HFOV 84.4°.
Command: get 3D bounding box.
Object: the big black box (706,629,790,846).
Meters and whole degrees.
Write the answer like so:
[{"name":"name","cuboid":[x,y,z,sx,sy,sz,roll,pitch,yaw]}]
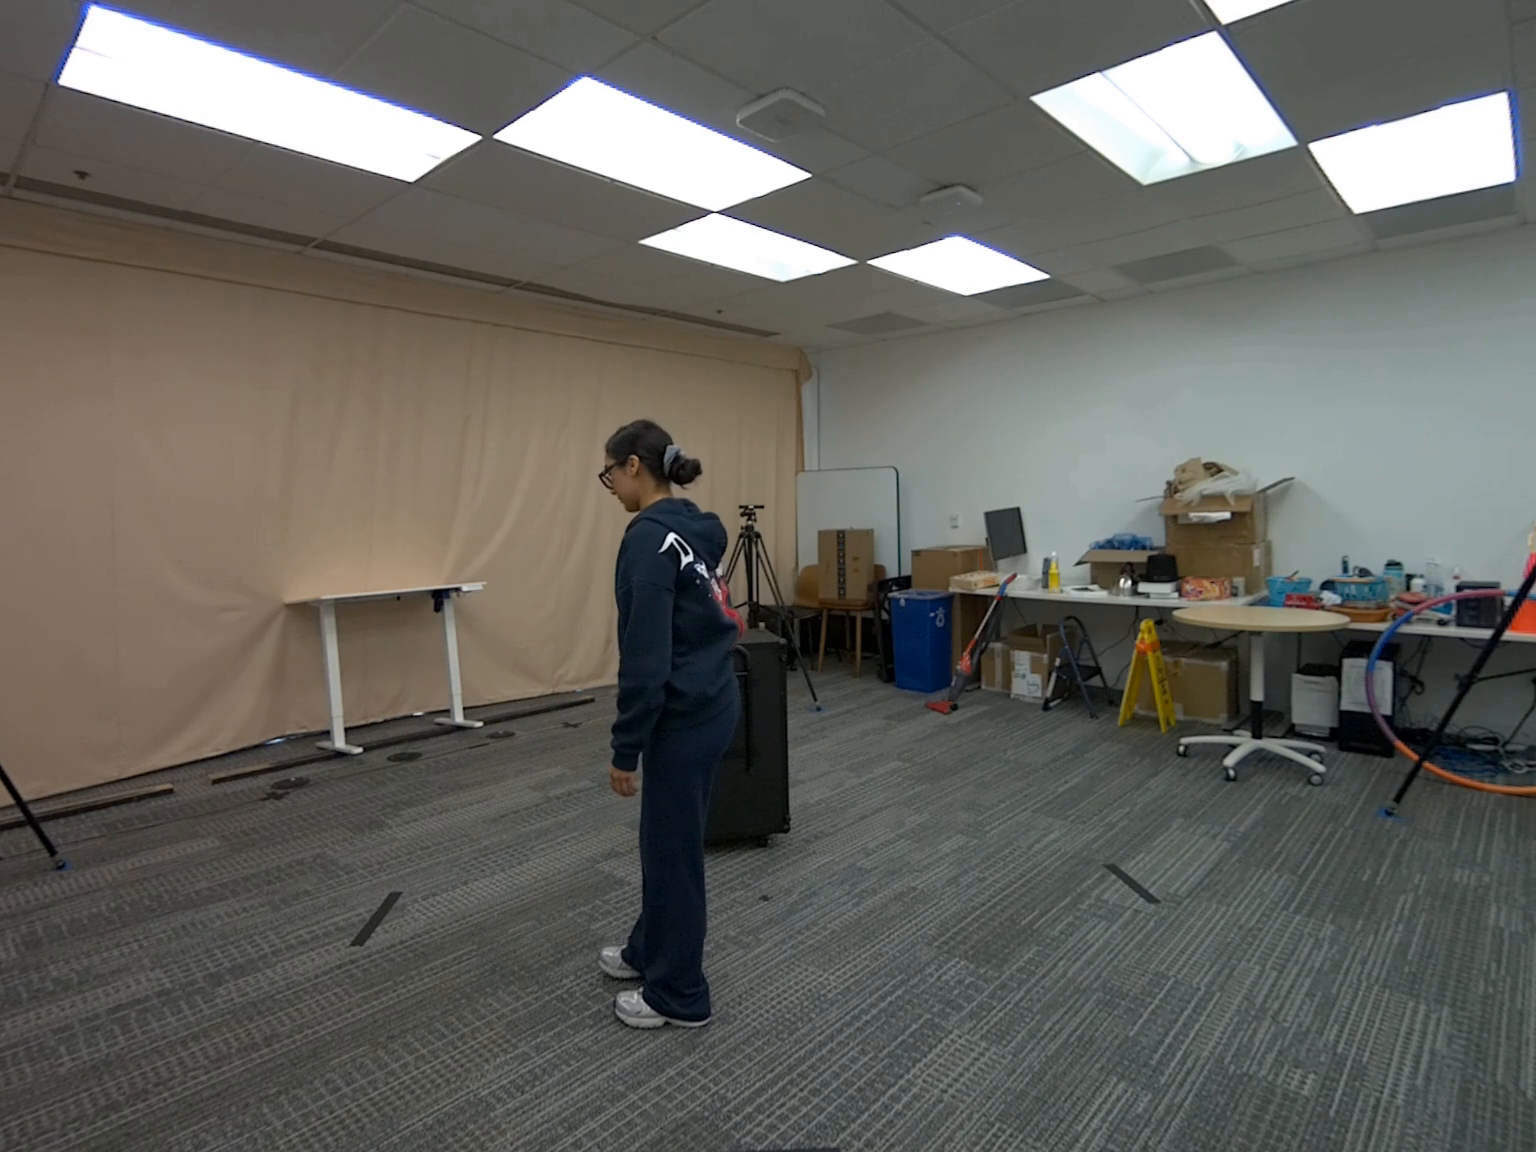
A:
[{"name":"big black box","cuboid":[-0.183,0.675,3.491,0.514,0.859,0.403,-2,4,-14]}]
